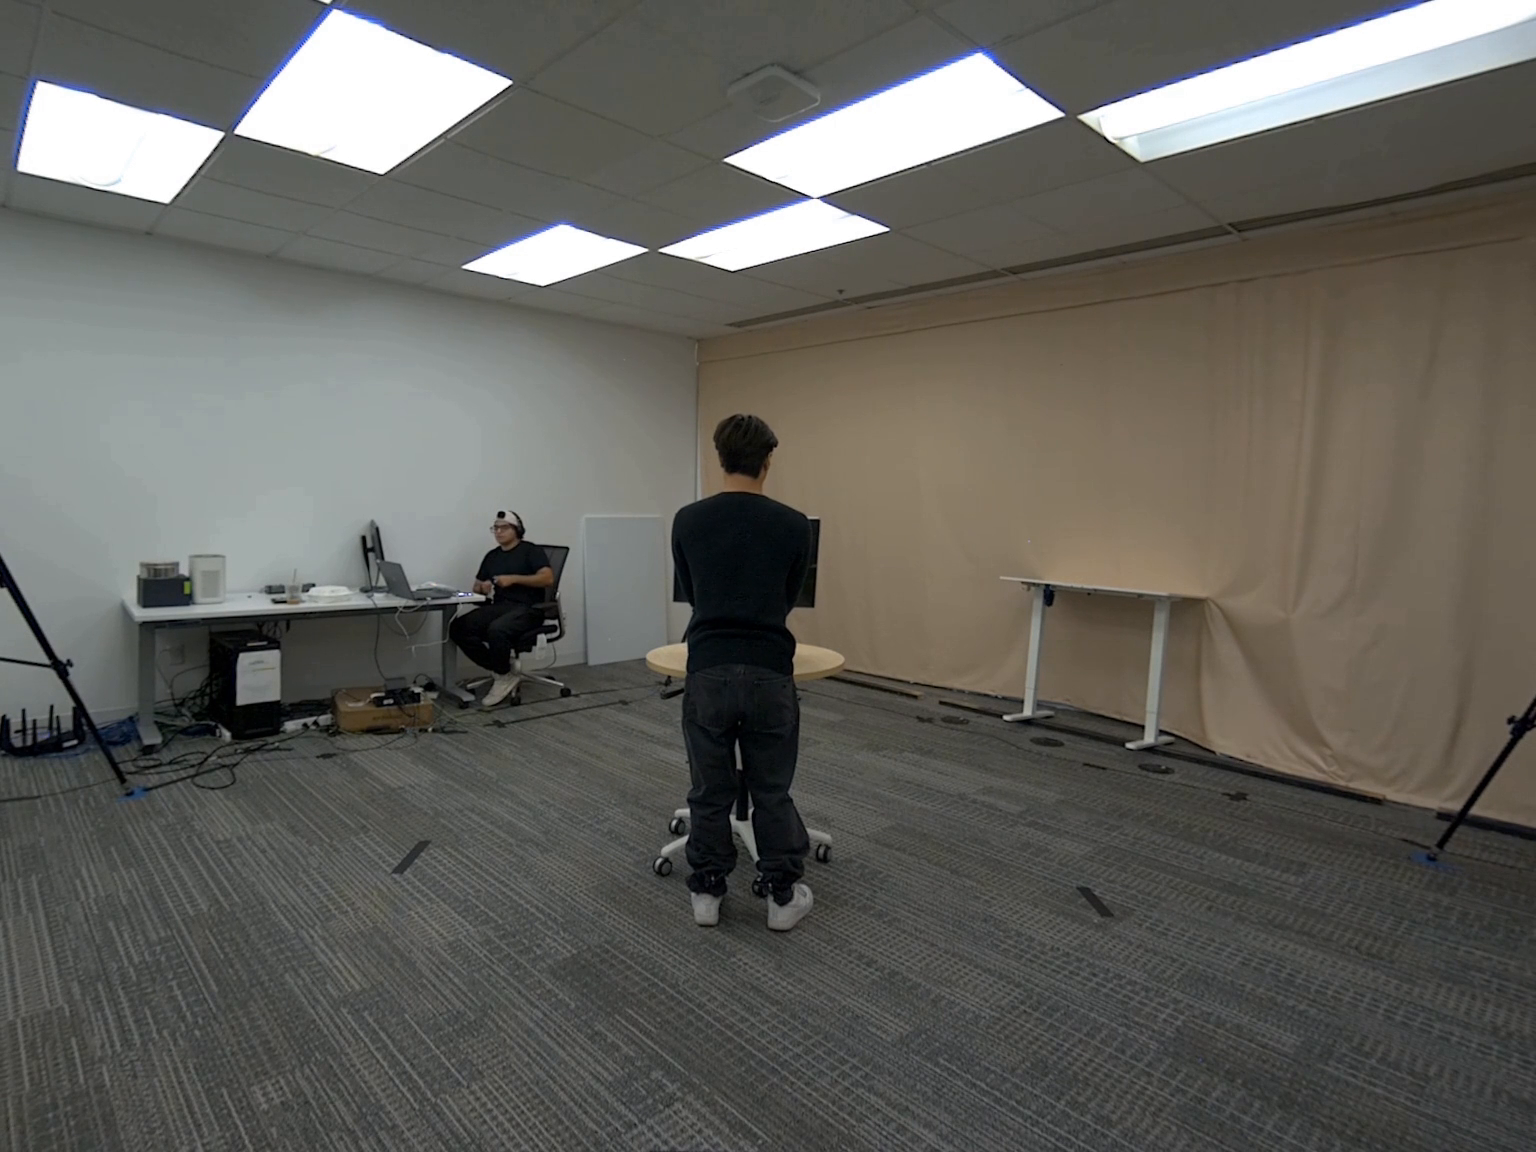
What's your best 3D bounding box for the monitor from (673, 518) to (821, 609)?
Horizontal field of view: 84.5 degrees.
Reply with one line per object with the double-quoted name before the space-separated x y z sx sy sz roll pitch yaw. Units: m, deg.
"monitor" -0.080 0.050 3.213 0.538 0.522 0.187 4 1 -2
